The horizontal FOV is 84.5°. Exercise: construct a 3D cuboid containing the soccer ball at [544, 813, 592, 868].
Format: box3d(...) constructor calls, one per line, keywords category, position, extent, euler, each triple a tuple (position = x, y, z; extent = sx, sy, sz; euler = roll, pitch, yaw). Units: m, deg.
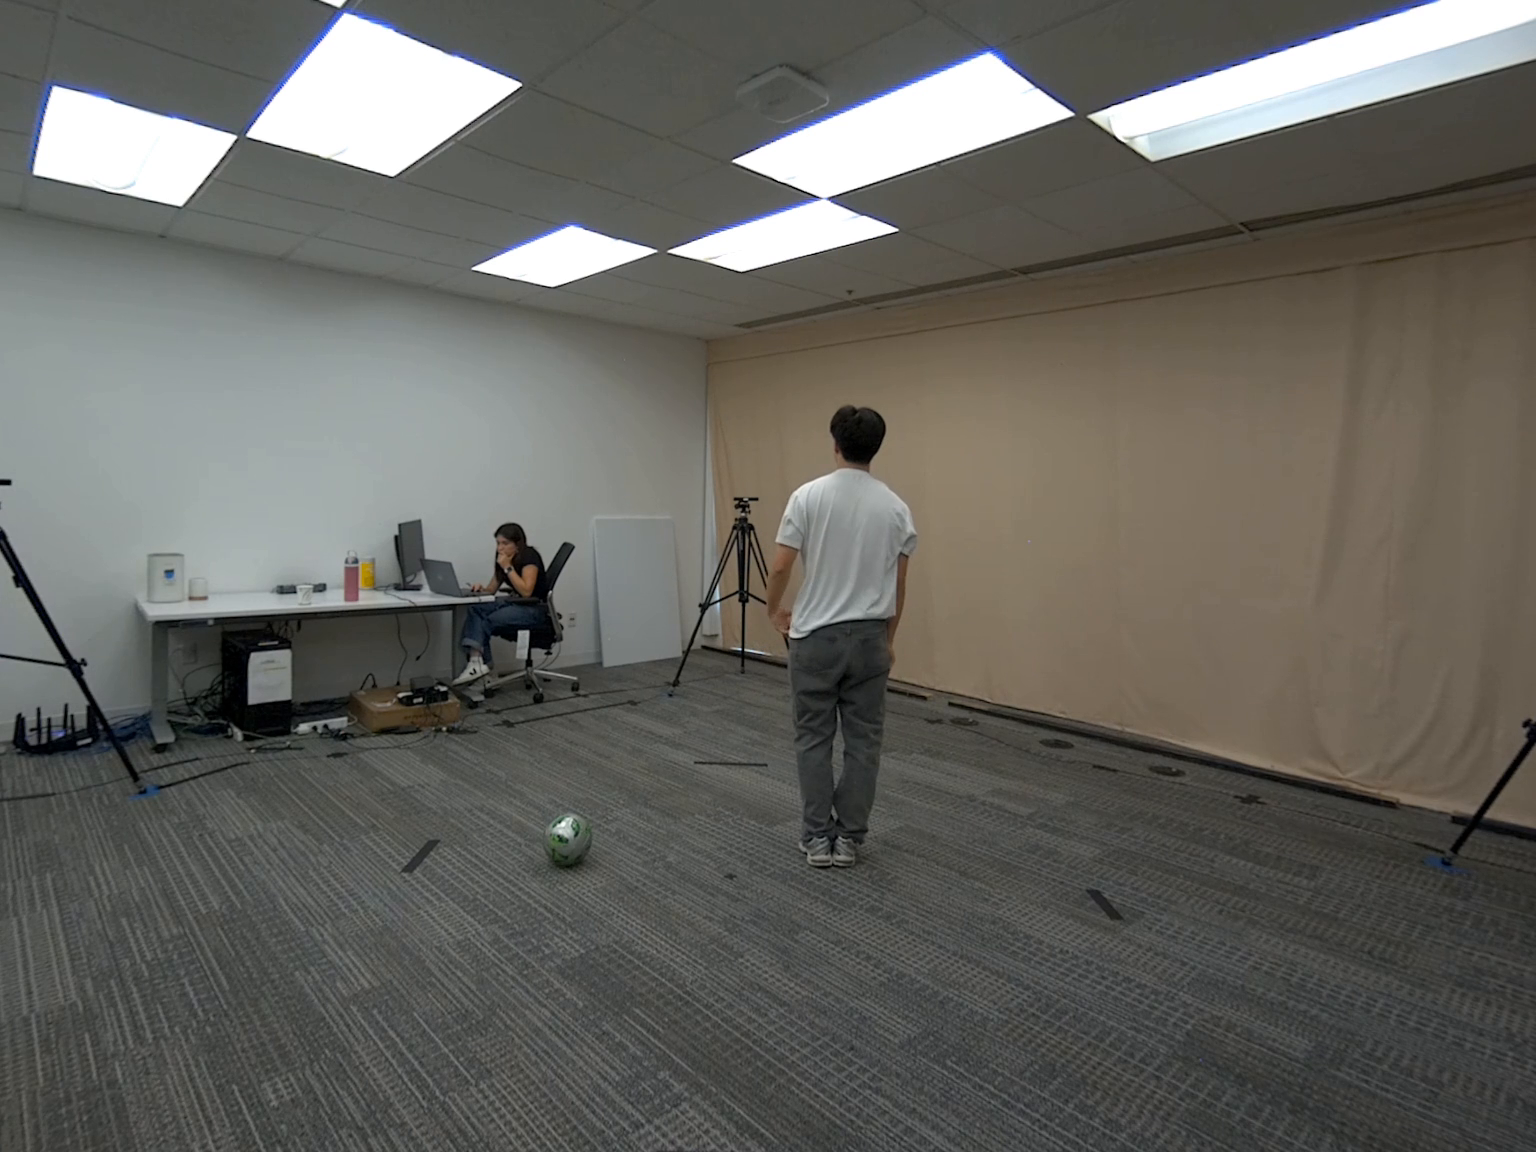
box3d(category="soccer ball", position=(-0.758, 0.997, 3.168), extent=(0.187, 0.187, 0.188), euler=(1, 4, -1))
